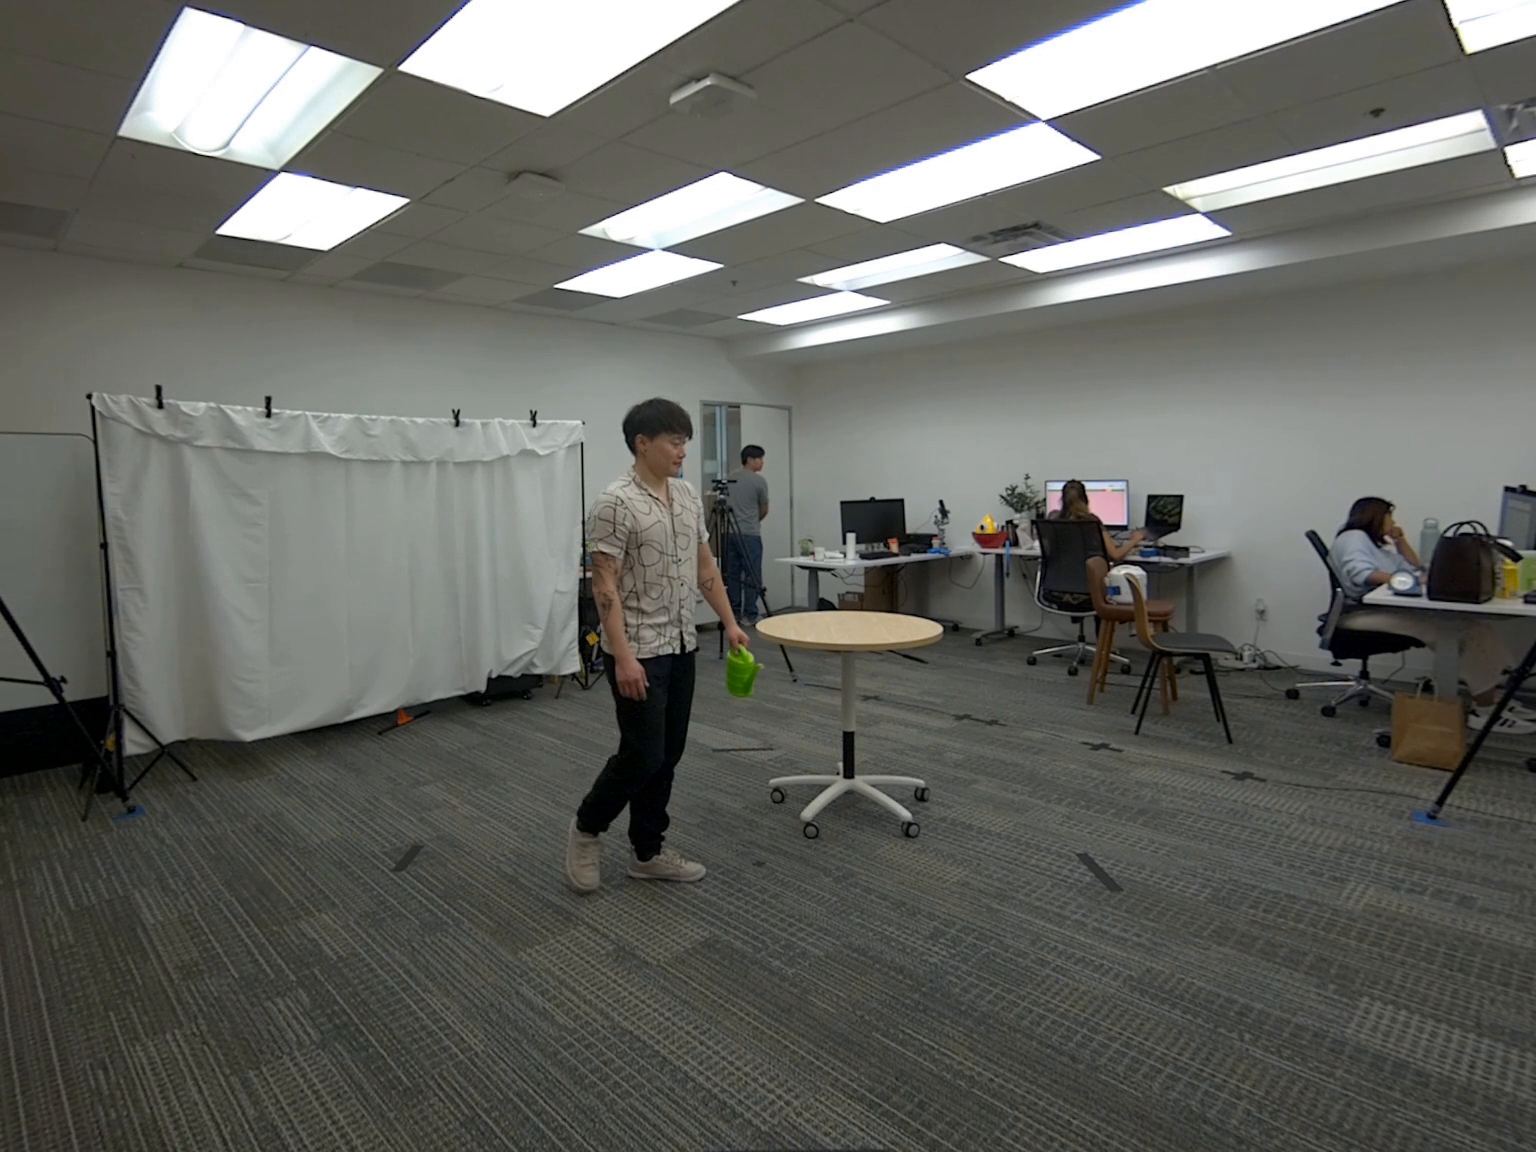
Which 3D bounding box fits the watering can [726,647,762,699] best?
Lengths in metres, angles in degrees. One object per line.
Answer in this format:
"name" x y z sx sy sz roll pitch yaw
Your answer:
"watering can" -0.100 0.343 3.007 0.097 0.174 0.285 -2 18 -11
